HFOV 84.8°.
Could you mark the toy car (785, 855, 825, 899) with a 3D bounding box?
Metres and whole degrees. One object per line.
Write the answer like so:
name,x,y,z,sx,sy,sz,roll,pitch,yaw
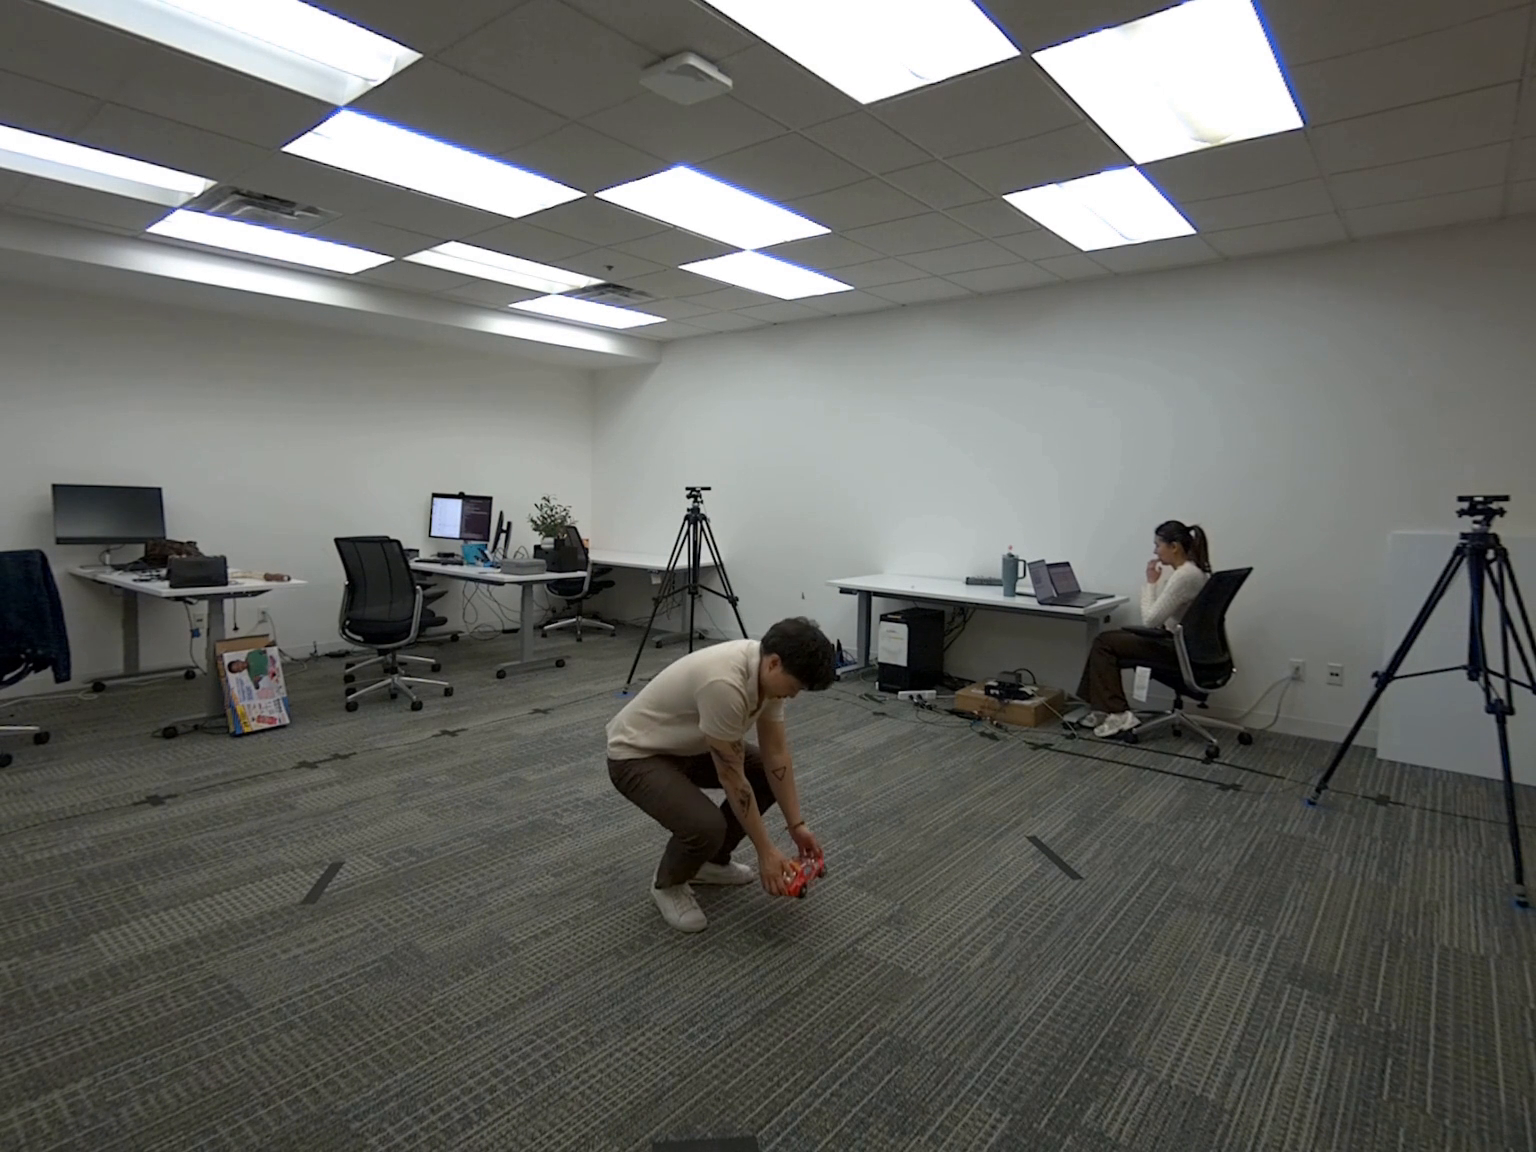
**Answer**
toy car,0.076,0.954,2.696,0.134,0.083,0.246,5,-1,30
